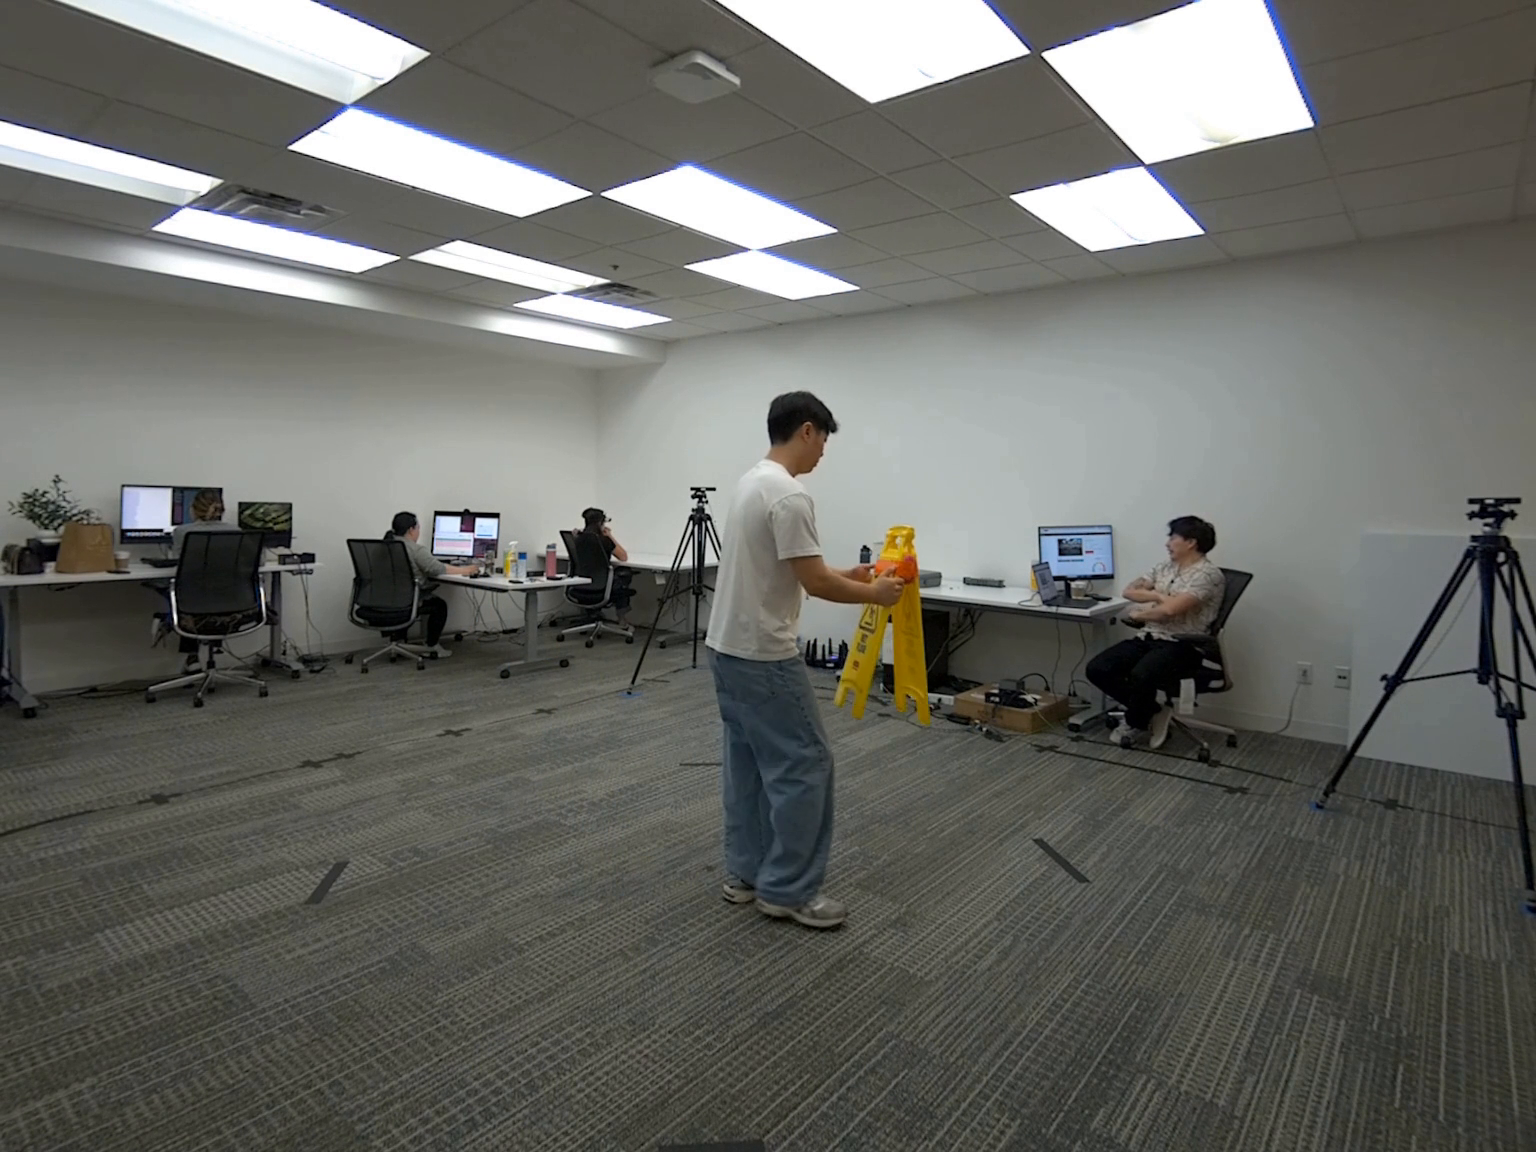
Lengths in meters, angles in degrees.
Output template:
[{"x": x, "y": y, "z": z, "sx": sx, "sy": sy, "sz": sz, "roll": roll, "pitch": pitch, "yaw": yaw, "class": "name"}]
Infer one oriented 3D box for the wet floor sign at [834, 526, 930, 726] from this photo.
[{"x": 0.420, "y": 0.160, "z": 2.914, "sx": 0.286, "sy": 0.647, "sz": 0.285, "roll": 7, "pitch": -1, "yaw": -11, "class": "wet floor sign"}]
